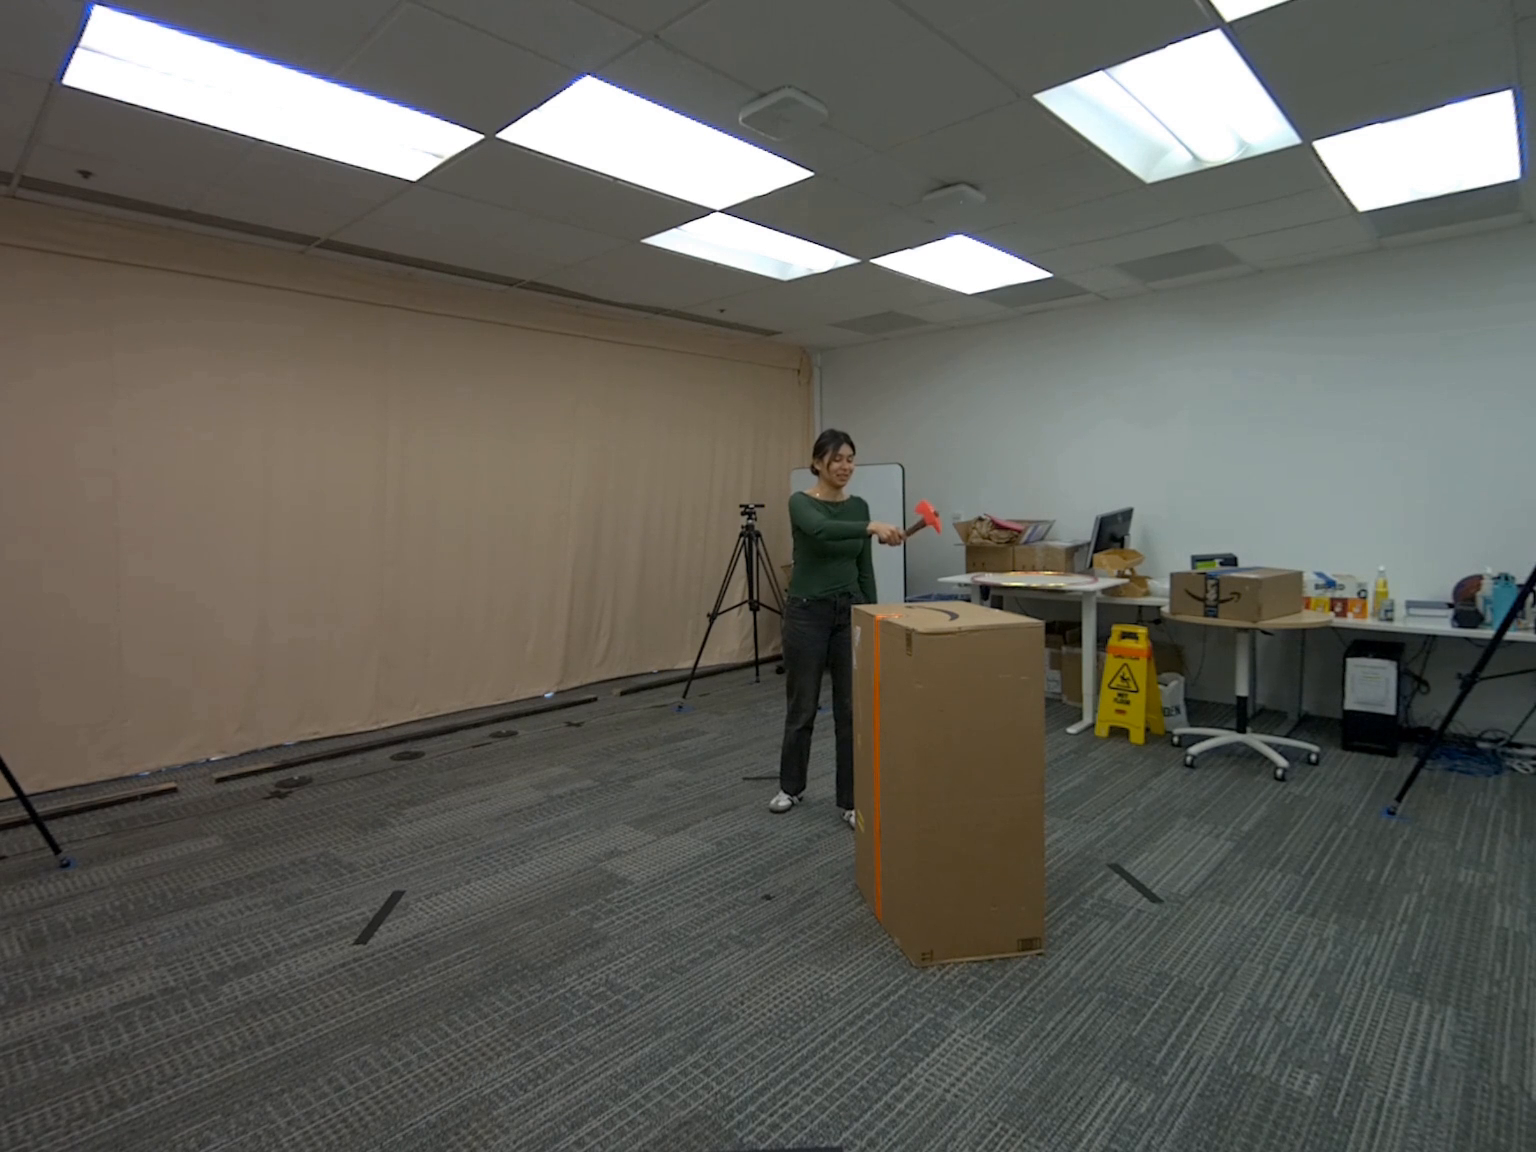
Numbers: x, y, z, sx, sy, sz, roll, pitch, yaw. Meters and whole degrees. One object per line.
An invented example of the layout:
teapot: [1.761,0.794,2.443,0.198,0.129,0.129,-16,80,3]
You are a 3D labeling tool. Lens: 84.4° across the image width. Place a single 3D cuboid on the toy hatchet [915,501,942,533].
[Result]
toy hatchet: [0.510,-0.195,3.065,0.029,0.131,0.277,-7,-3,-44]
